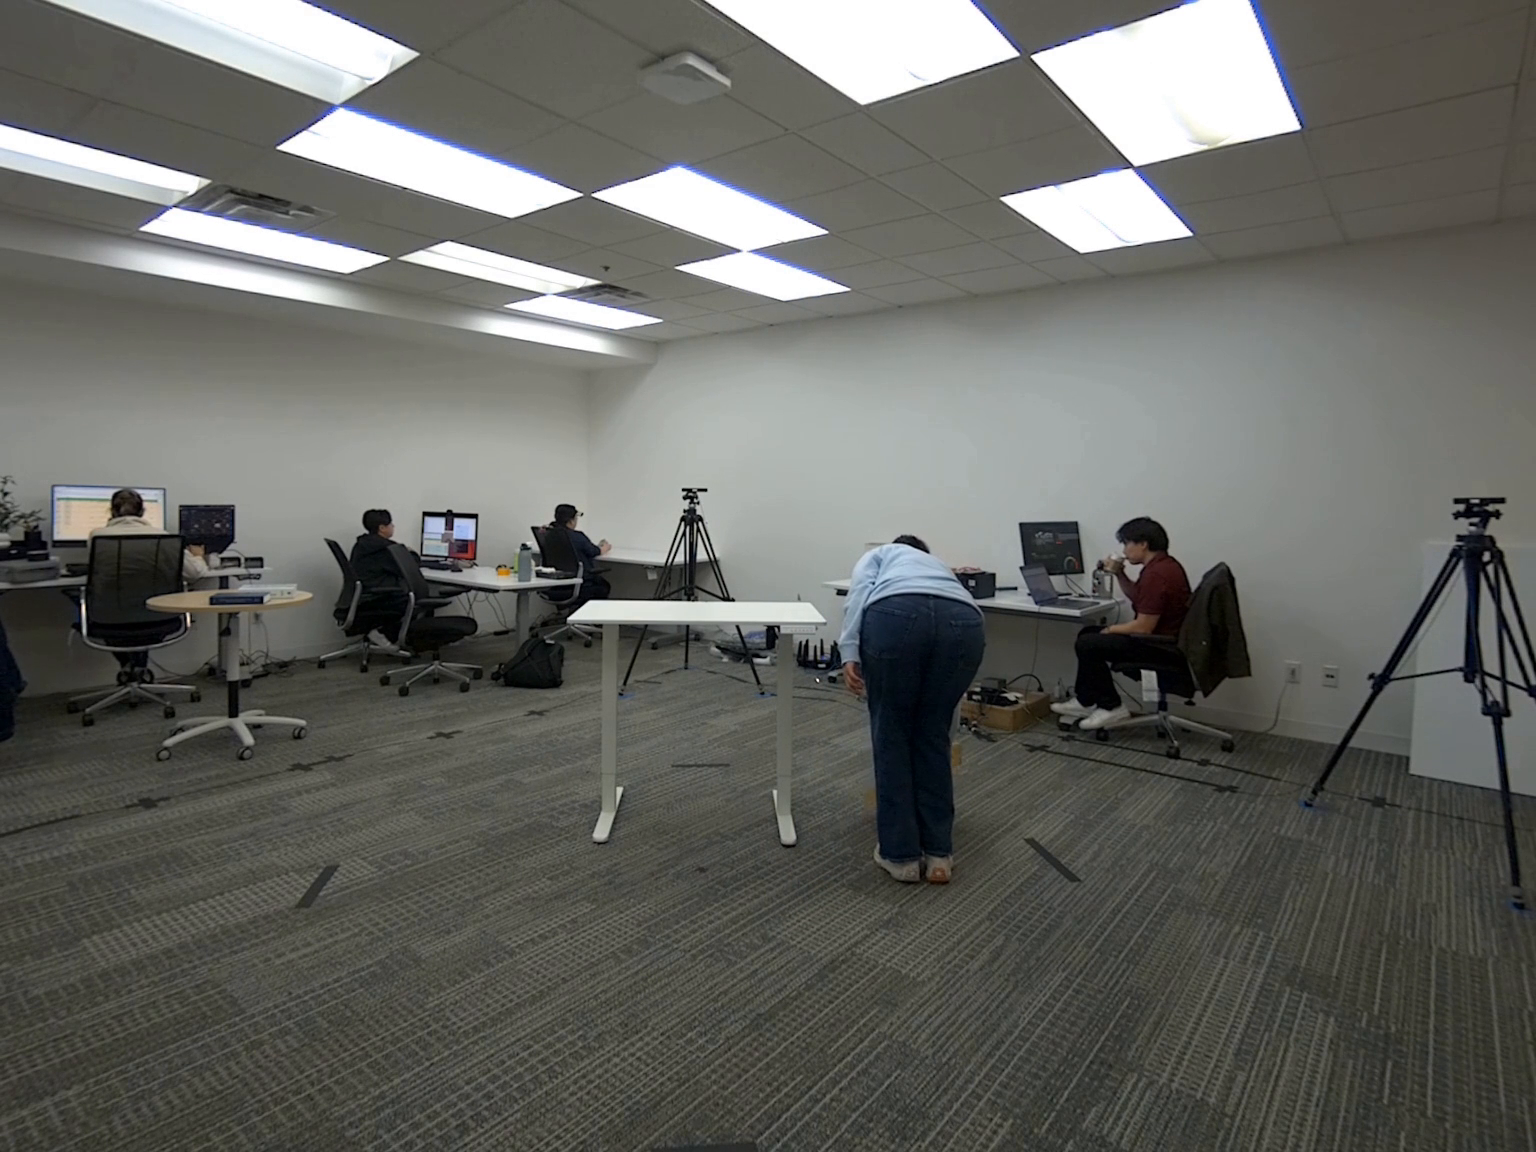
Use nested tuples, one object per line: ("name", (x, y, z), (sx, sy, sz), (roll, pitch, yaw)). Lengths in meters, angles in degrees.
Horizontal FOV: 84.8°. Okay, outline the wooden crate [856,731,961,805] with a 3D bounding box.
("wooden crate", (0.594, 0.812, 3.577), (0.311, 0.274, 0.314), (-3, -4, 43))
